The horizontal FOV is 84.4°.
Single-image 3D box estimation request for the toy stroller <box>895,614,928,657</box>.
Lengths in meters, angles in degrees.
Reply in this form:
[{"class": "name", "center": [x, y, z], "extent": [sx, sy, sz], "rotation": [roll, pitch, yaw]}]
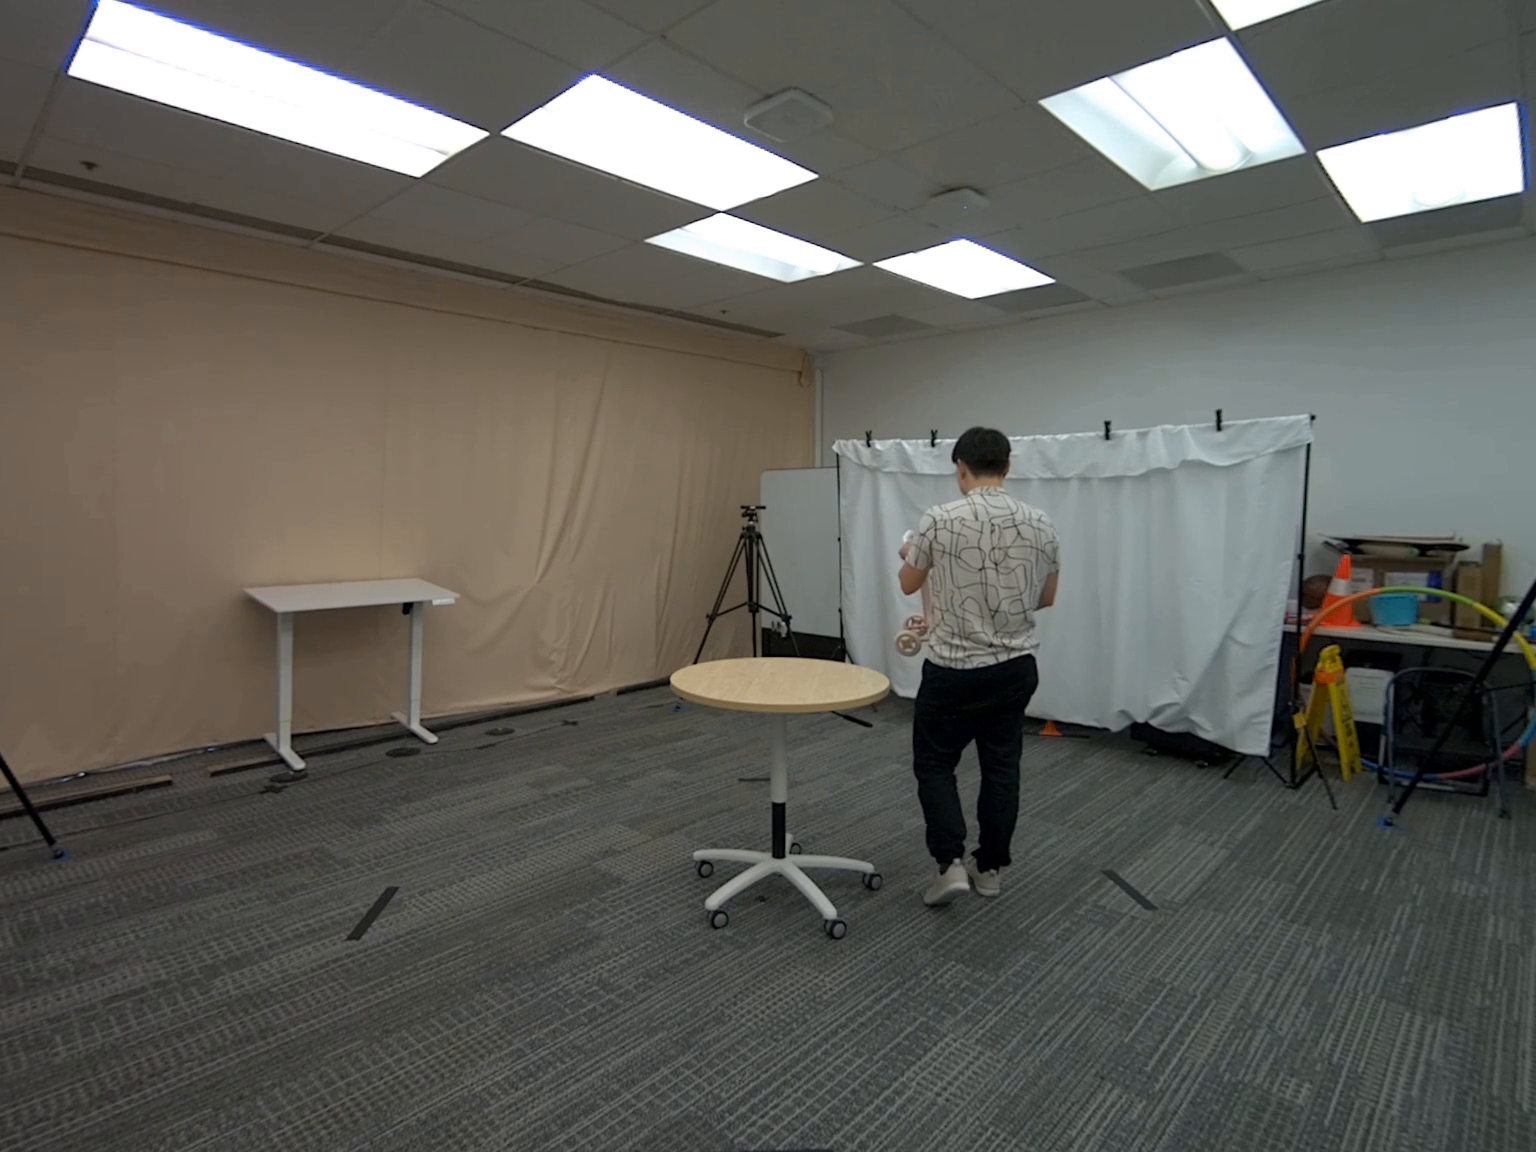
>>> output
[{"class": "toy stroller", "center": [0.715, 0.105, 3.423], "extent": [0.350, 0.531, 0.277], "rotation": [7, 14, 23]}]
